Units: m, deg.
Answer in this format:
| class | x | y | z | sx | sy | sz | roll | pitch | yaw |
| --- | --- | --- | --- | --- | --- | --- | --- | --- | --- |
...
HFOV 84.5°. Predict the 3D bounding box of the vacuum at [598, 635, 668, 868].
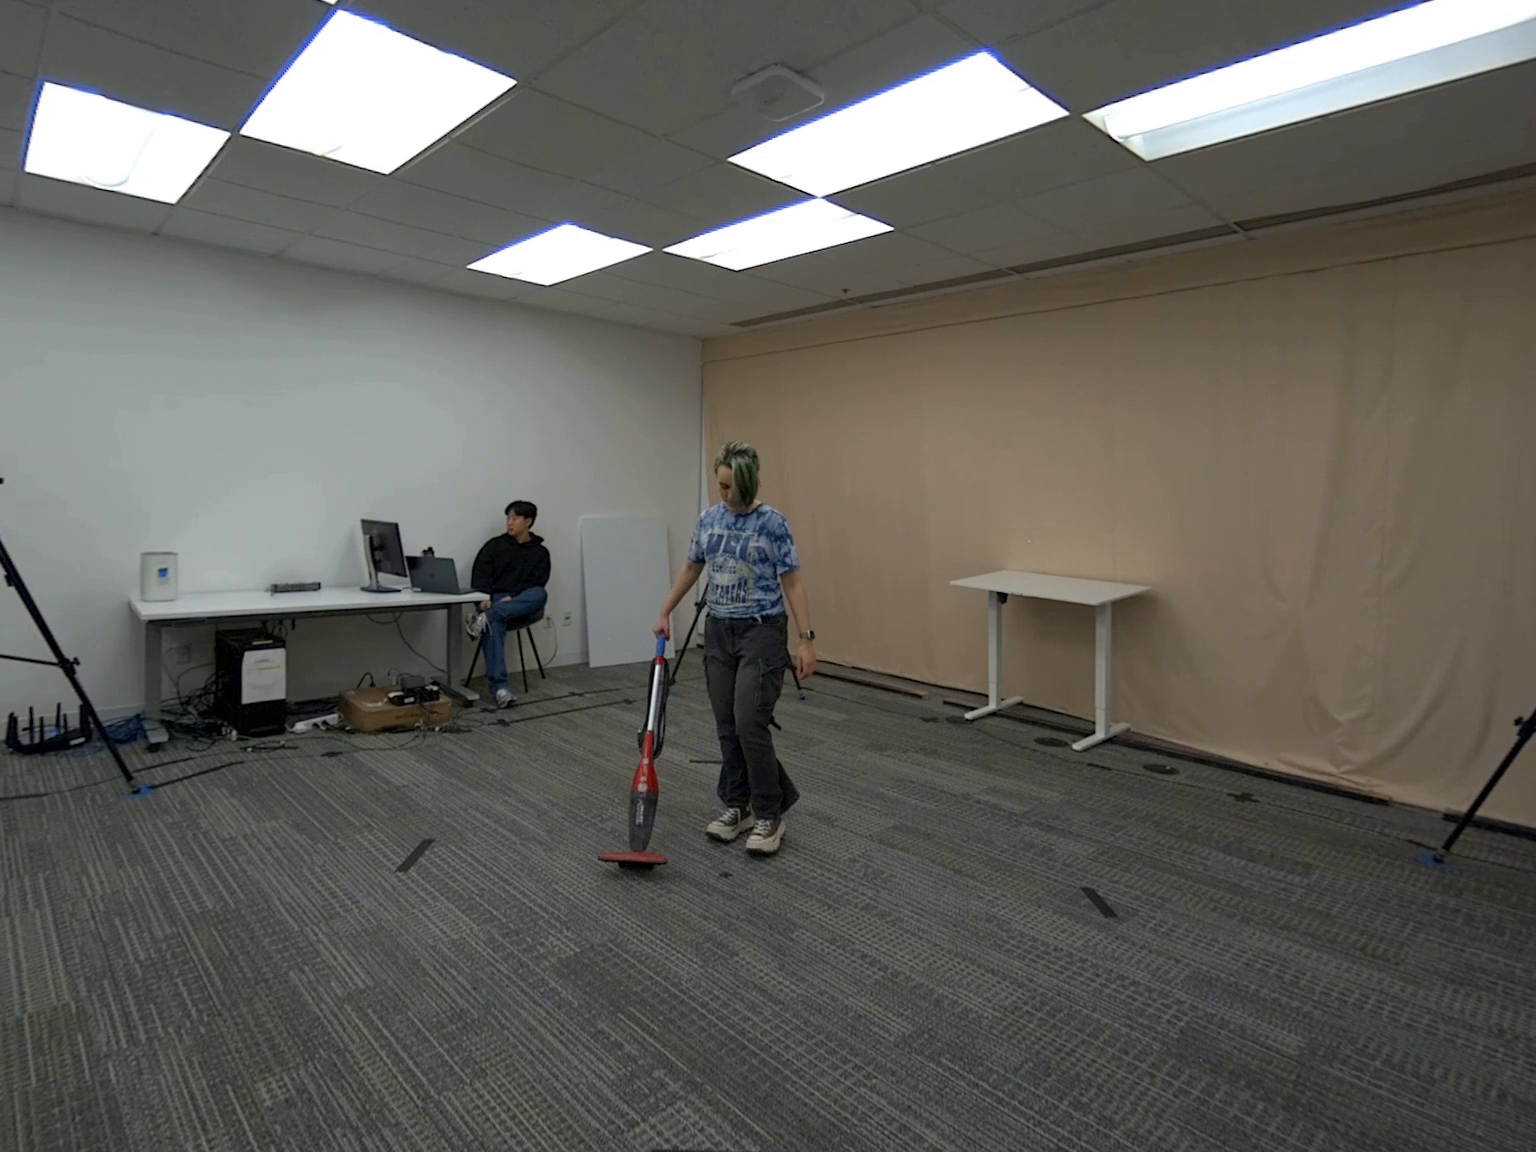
| class | x | y | z | sx | sy | sz | roll | pitch | yaw |
| --- | --- | --- | --- | --- | --- | --- | --- | --- | --- |
| vacuum | -0.482 | 0.649 | 3.415 | 0.254 | 1.071 | 0.140 | -2 | -38 | 5 |
